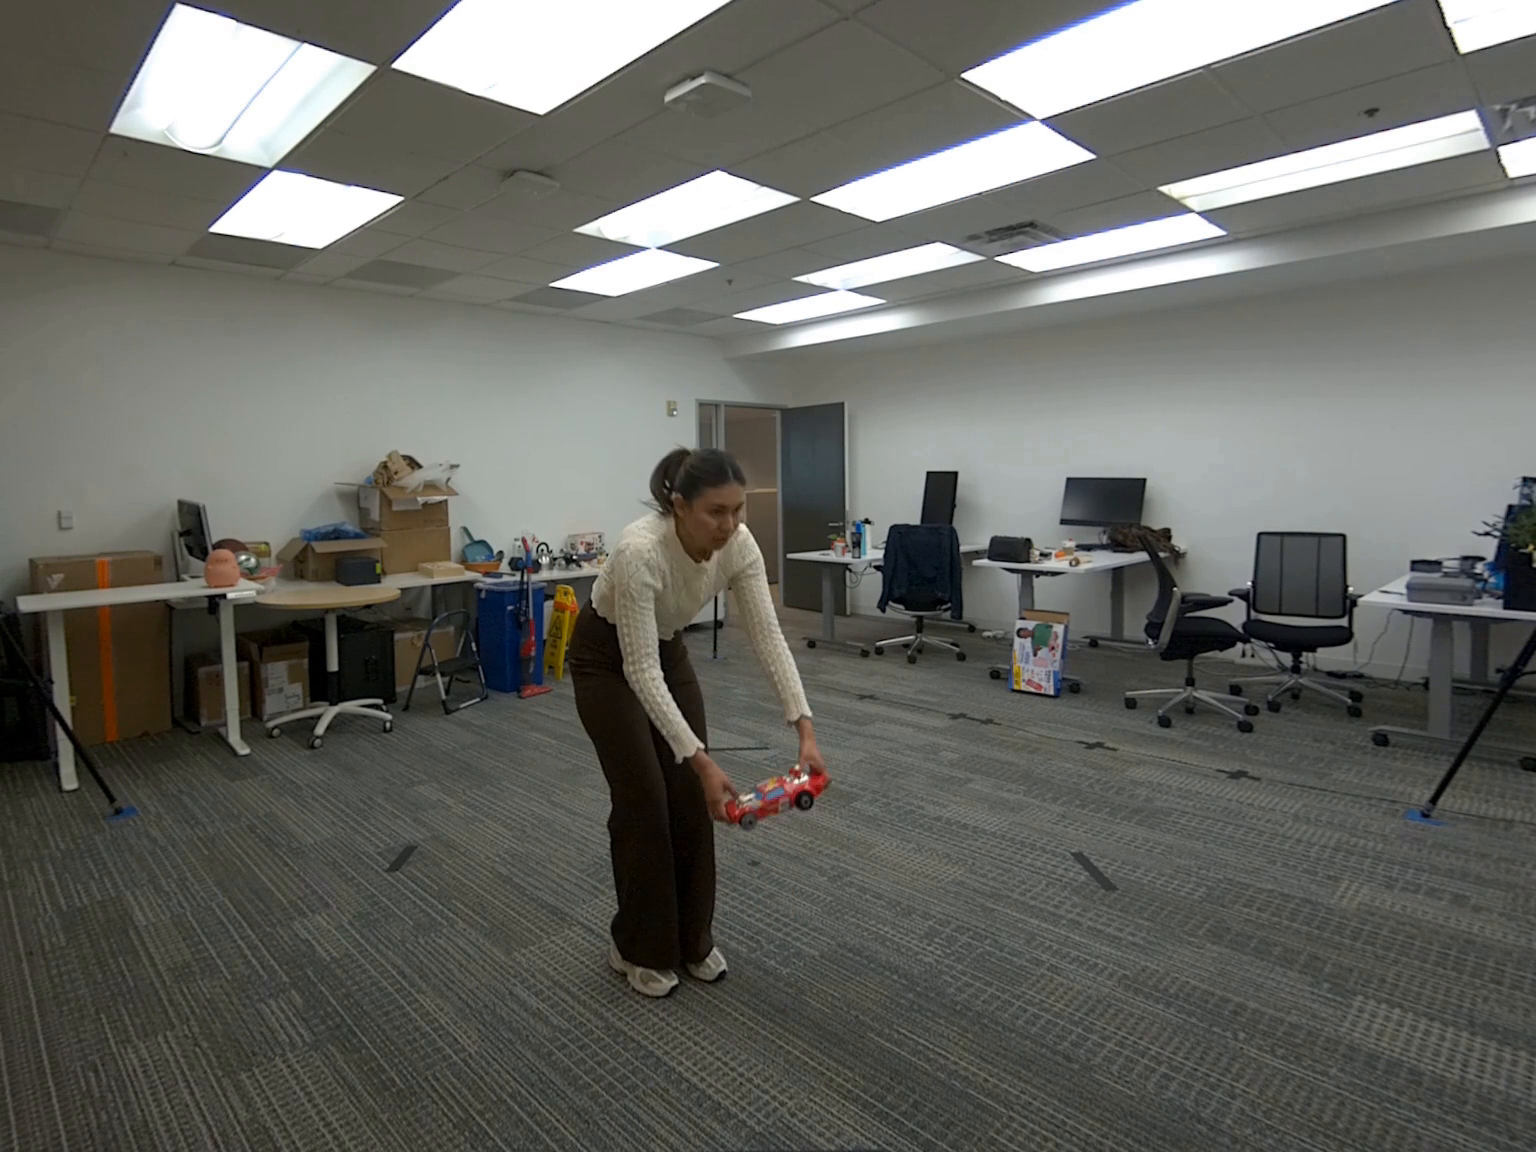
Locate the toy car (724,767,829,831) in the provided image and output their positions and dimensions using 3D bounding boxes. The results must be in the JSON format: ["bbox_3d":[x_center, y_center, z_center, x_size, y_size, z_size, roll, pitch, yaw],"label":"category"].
[{"bbox_3d":[0.022,0.538,2.052,0.253,0.082,0.132,-25,9,-14],"label":"toy car"}]
